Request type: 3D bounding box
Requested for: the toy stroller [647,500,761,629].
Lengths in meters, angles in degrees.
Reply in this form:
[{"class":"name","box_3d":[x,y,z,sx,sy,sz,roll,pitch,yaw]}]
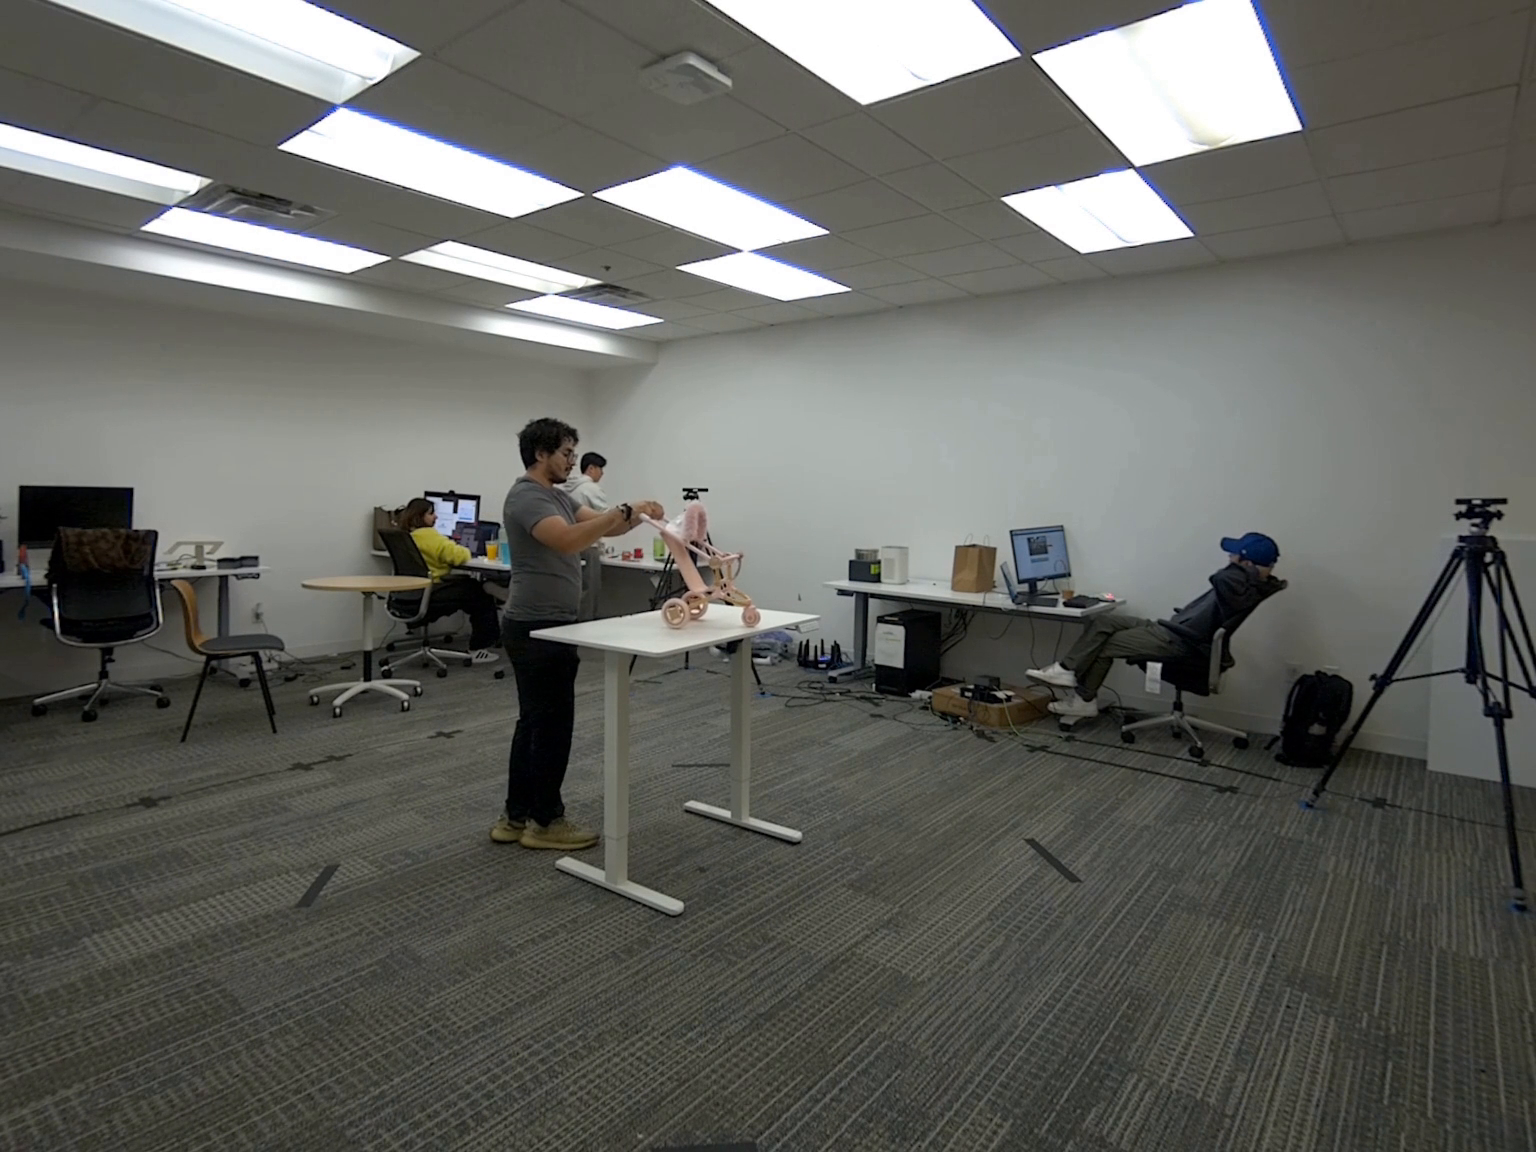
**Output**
[{"class":"toy stroller","box_3d":[-0.261,-0.043,3.161,0.346,0.536,0.277,-14,-1,17]}]
